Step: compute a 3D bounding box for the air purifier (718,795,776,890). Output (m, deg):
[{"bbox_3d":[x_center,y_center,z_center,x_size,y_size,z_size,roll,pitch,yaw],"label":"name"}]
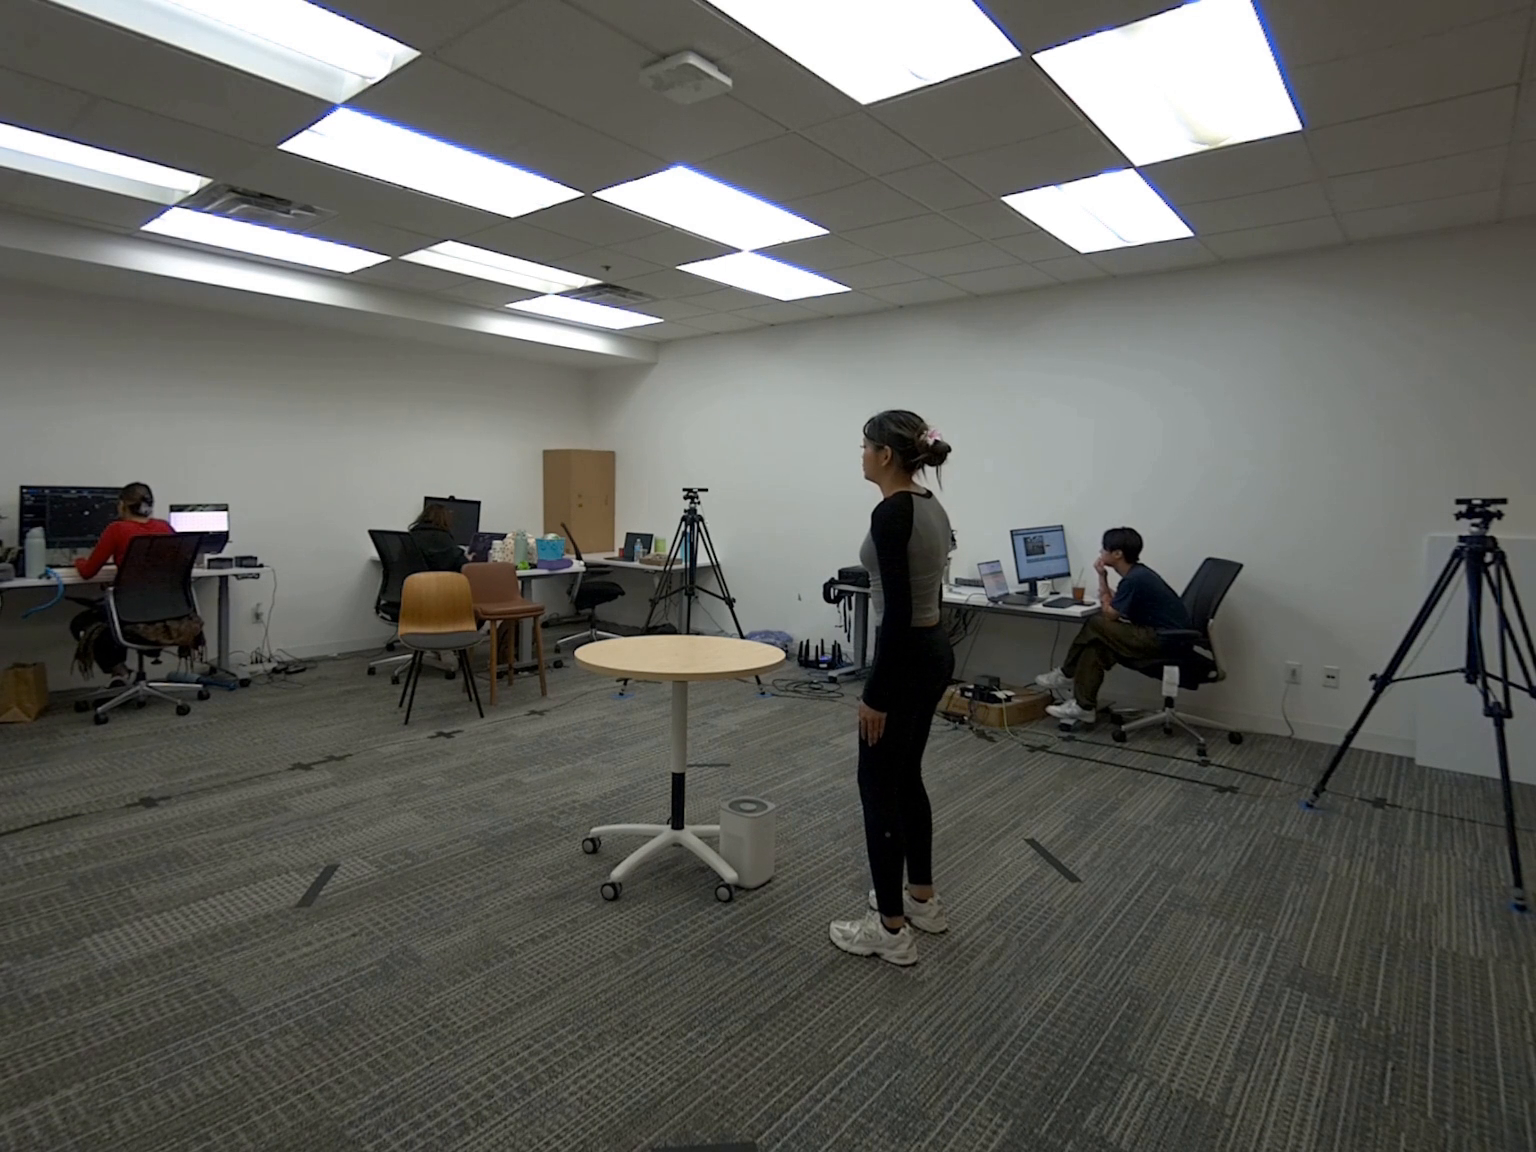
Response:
[{"bbox_3d":[-0.078,0.945,3.032,0.177,0.265,0.166,3,3,34],"label":"air purifier"}]
